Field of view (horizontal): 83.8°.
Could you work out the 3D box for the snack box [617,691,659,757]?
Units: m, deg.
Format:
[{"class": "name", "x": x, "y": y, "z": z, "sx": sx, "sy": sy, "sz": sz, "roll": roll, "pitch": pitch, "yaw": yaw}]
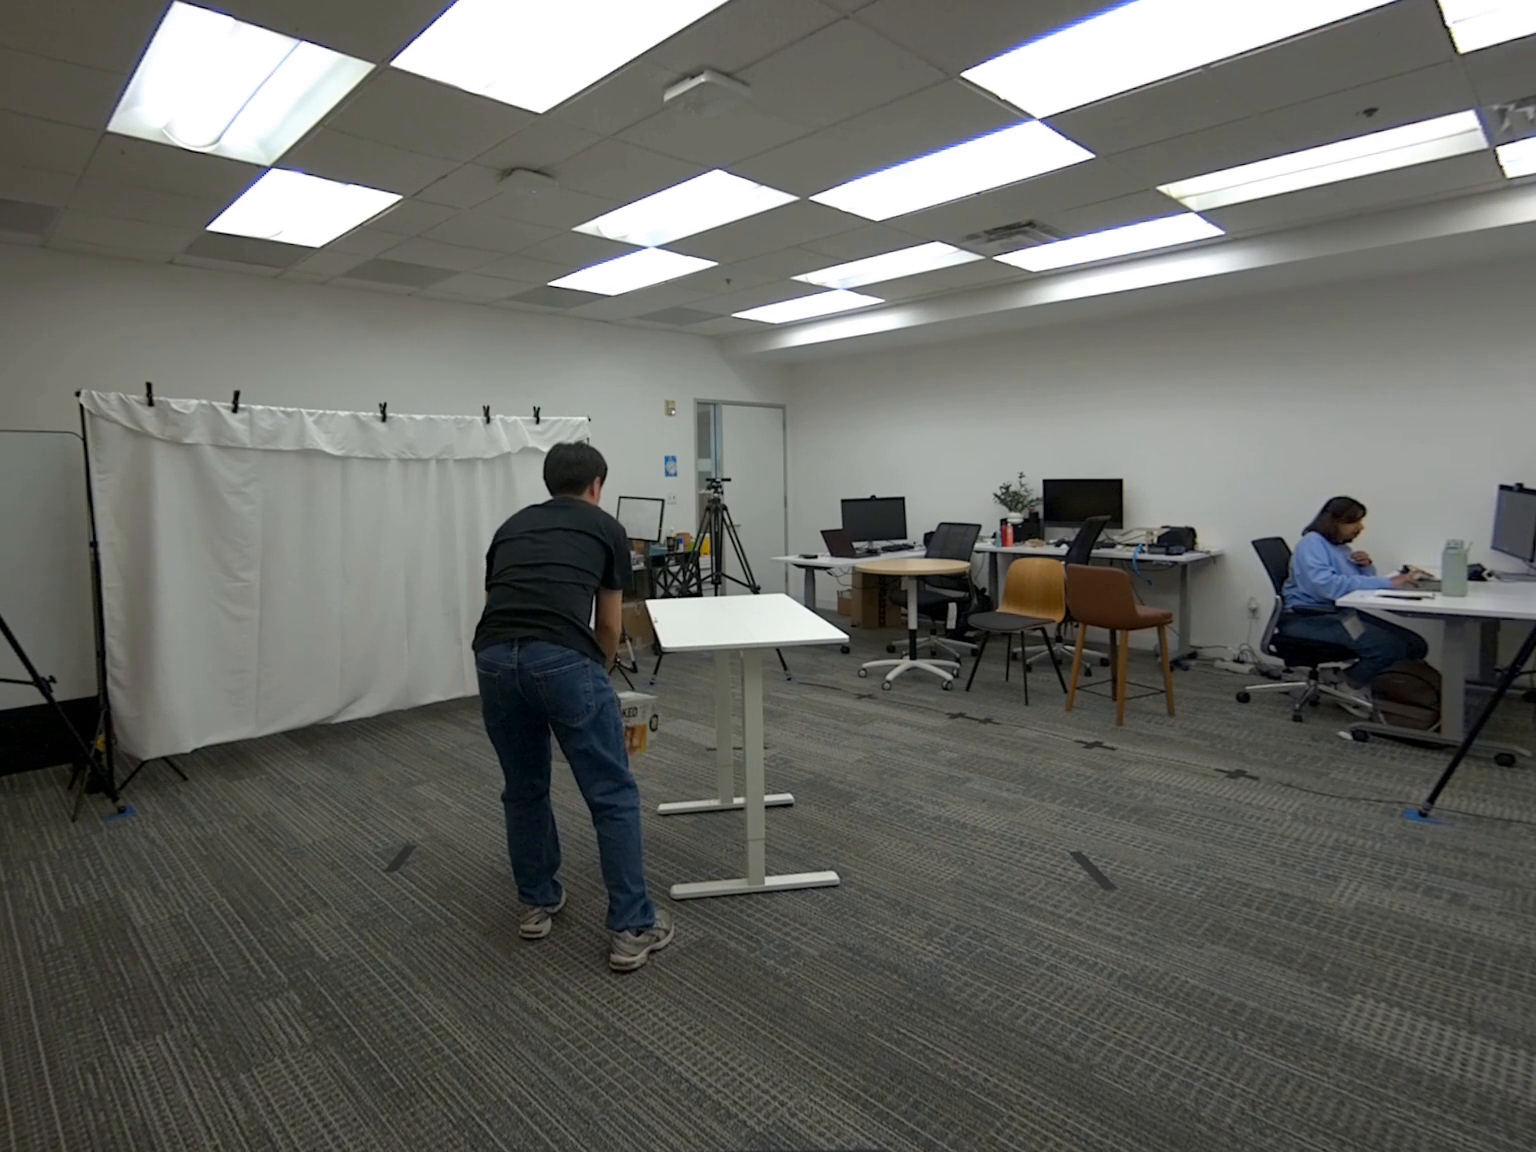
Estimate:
[{"class": "snack box", "x": -0.647, "y": 0.539, "z": 3.117, "sx": 0.349, "sy": 0.206, "sz": 0.393, "roll": 1, "pitch": -2, "yaw": 32}]
